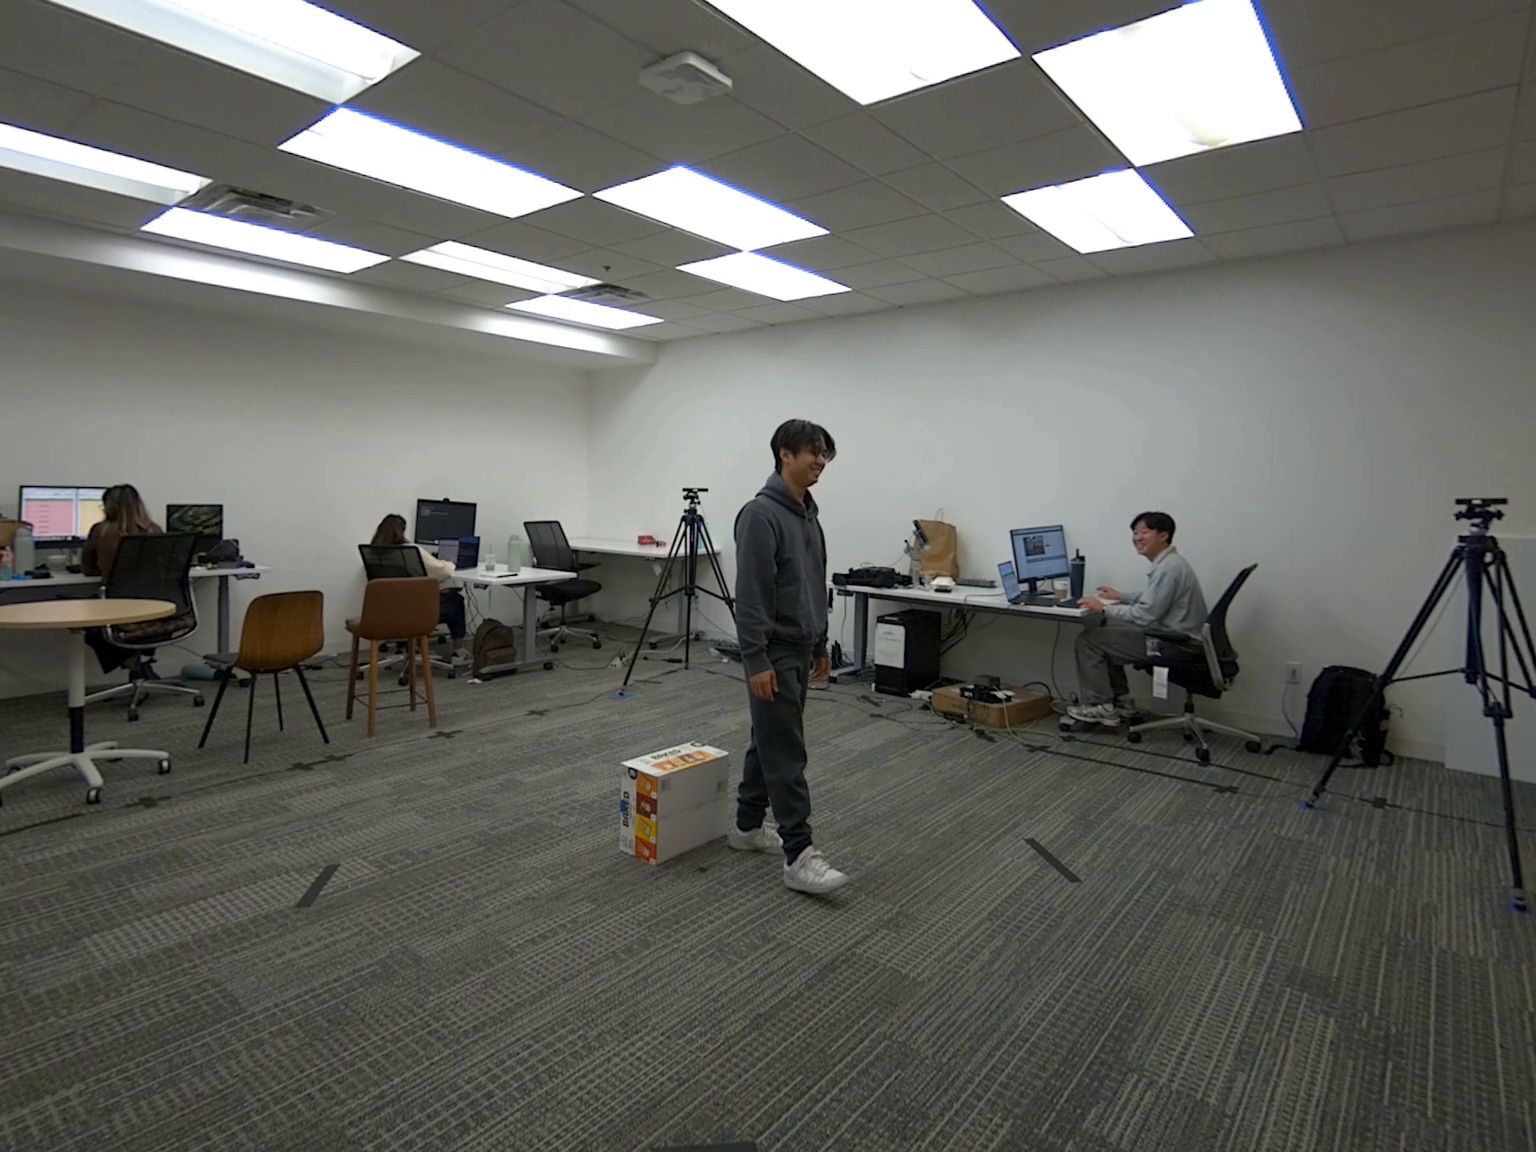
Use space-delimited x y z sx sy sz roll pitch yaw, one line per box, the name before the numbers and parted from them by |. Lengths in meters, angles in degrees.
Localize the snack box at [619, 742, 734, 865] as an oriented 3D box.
snack box | -0.373 0.877 3.335 0.213 0.339 0.393 6 7 40
